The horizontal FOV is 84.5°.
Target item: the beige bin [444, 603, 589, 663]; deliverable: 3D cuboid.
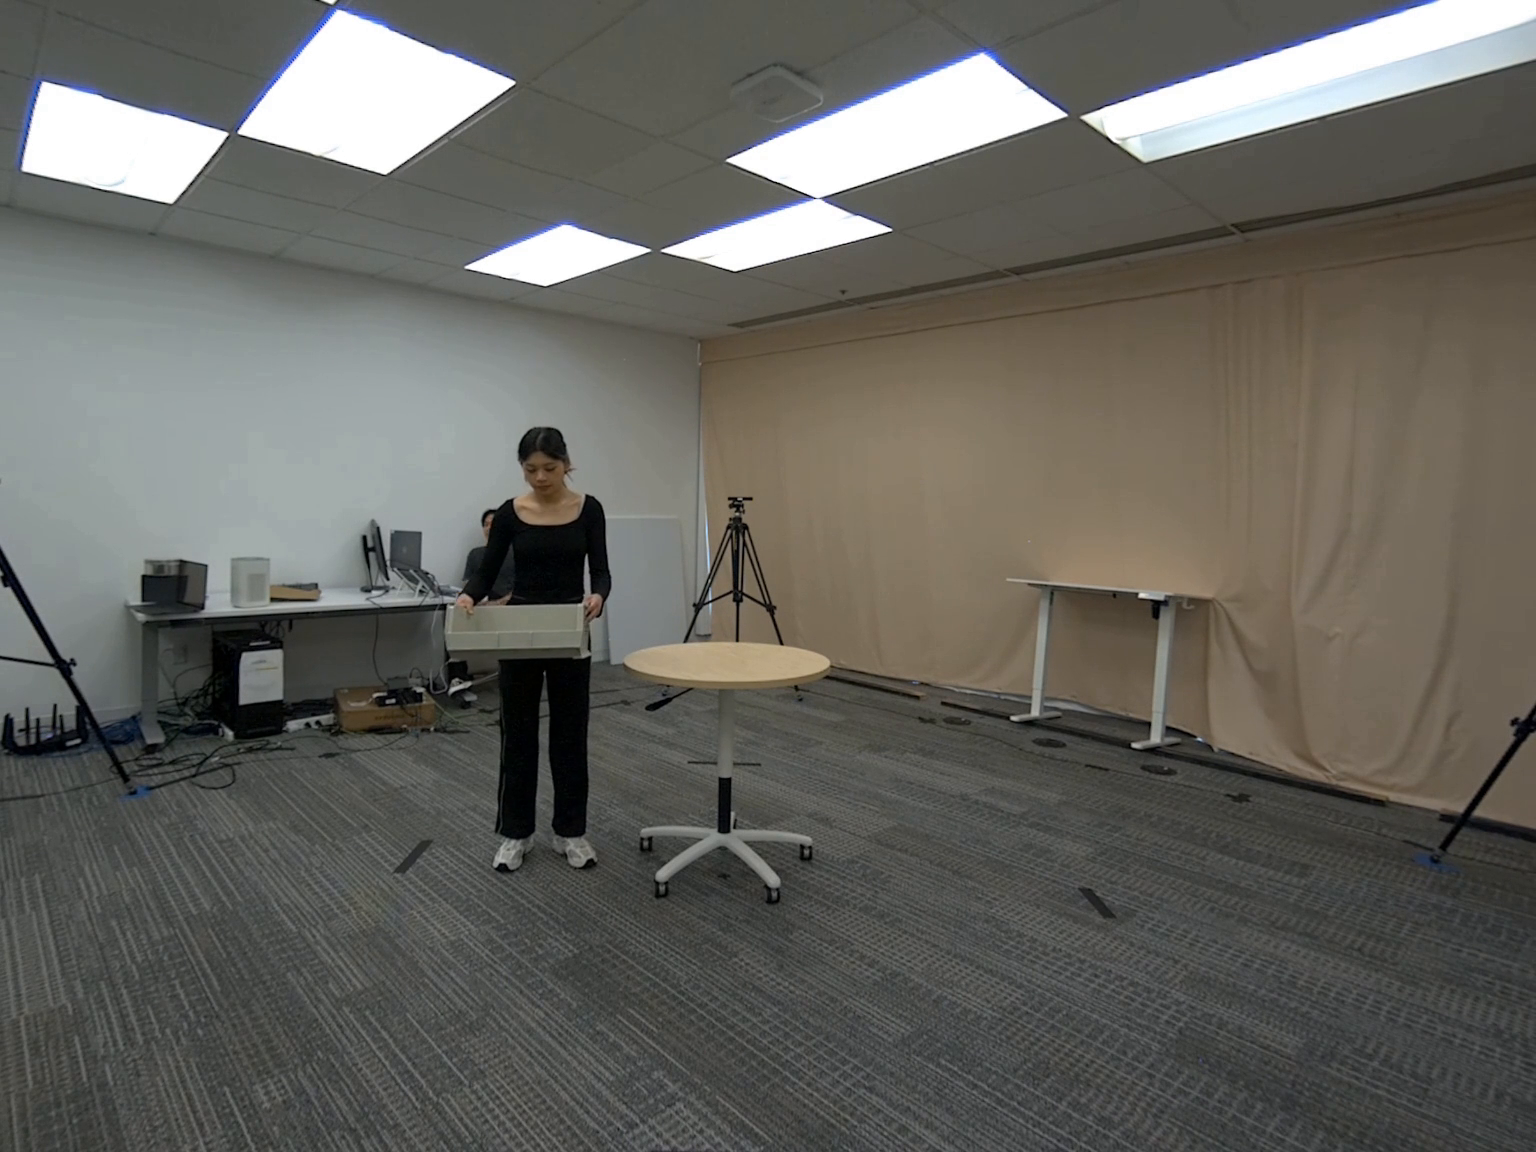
[{"bbox_3d":[-0.804,0.187,2.763,0.421,0.190,0.377,-1,-4,-5],"label":"beige bin"}]
